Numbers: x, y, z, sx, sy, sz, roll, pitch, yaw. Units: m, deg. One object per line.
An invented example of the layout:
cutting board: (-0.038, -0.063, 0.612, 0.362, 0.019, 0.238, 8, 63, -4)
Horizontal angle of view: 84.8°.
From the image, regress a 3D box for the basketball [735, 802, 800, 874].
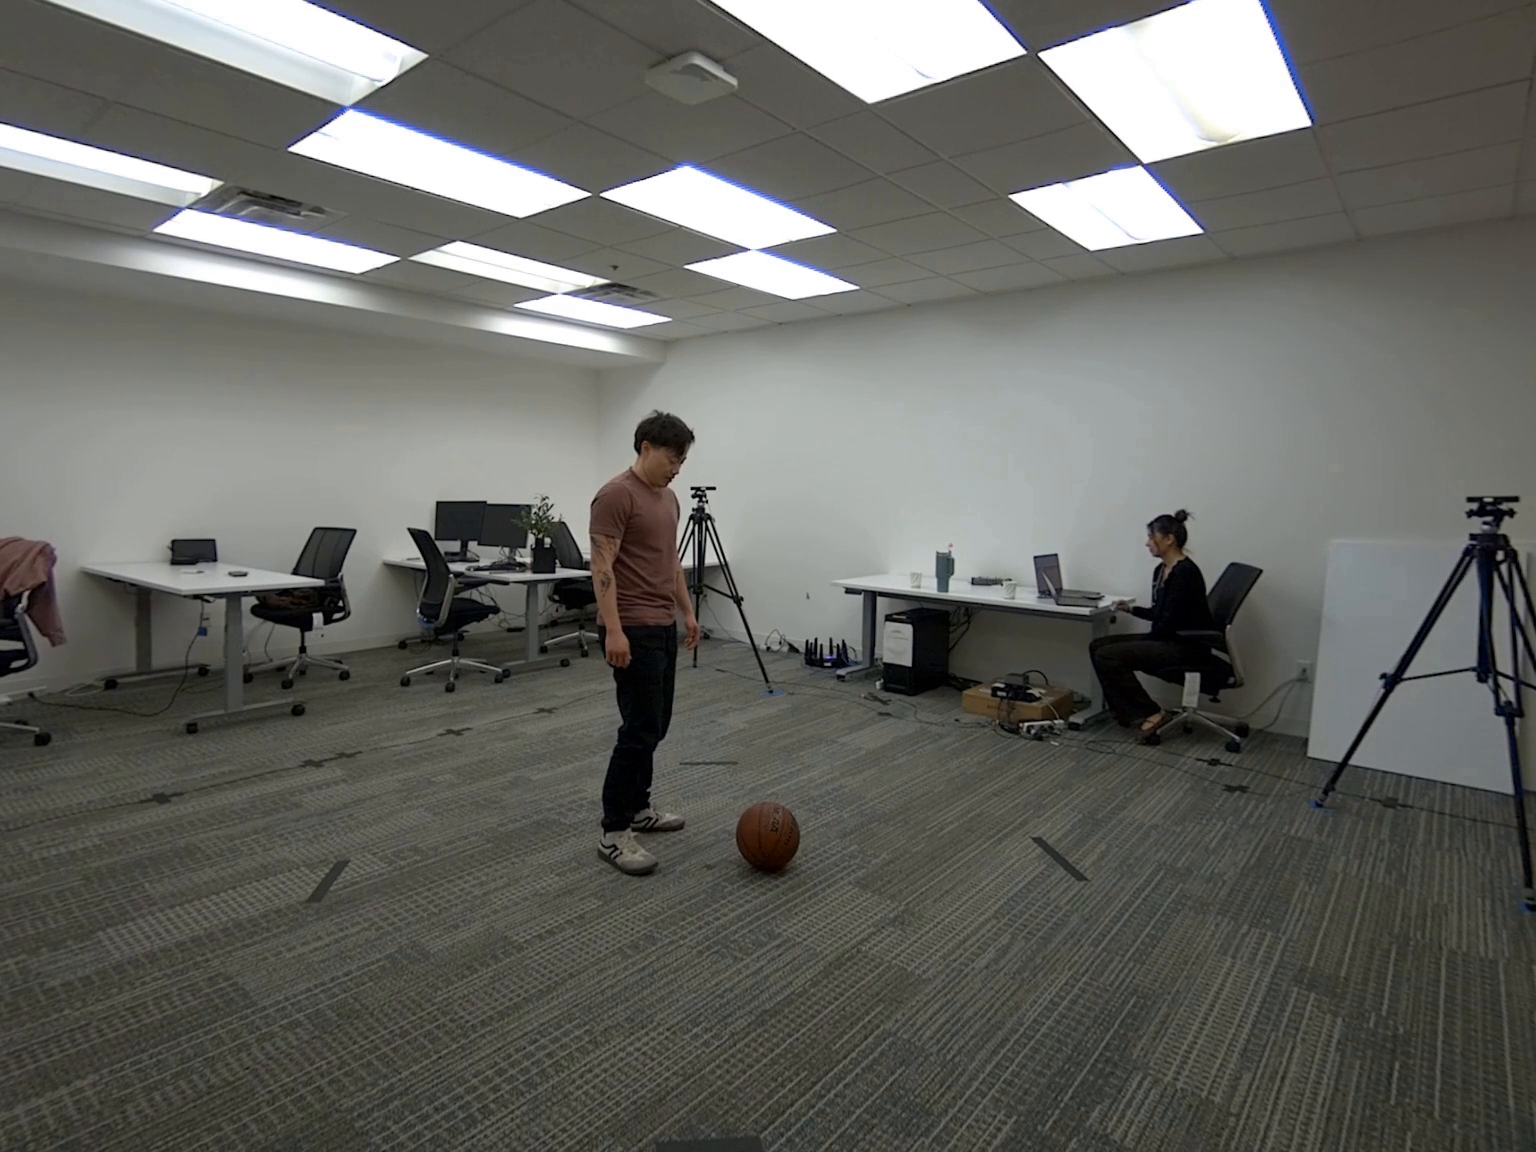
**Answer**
basketball: (-0.005, 0.950, 3.119, 0.235, 0.235, 0.237, 1, 4, -2)
